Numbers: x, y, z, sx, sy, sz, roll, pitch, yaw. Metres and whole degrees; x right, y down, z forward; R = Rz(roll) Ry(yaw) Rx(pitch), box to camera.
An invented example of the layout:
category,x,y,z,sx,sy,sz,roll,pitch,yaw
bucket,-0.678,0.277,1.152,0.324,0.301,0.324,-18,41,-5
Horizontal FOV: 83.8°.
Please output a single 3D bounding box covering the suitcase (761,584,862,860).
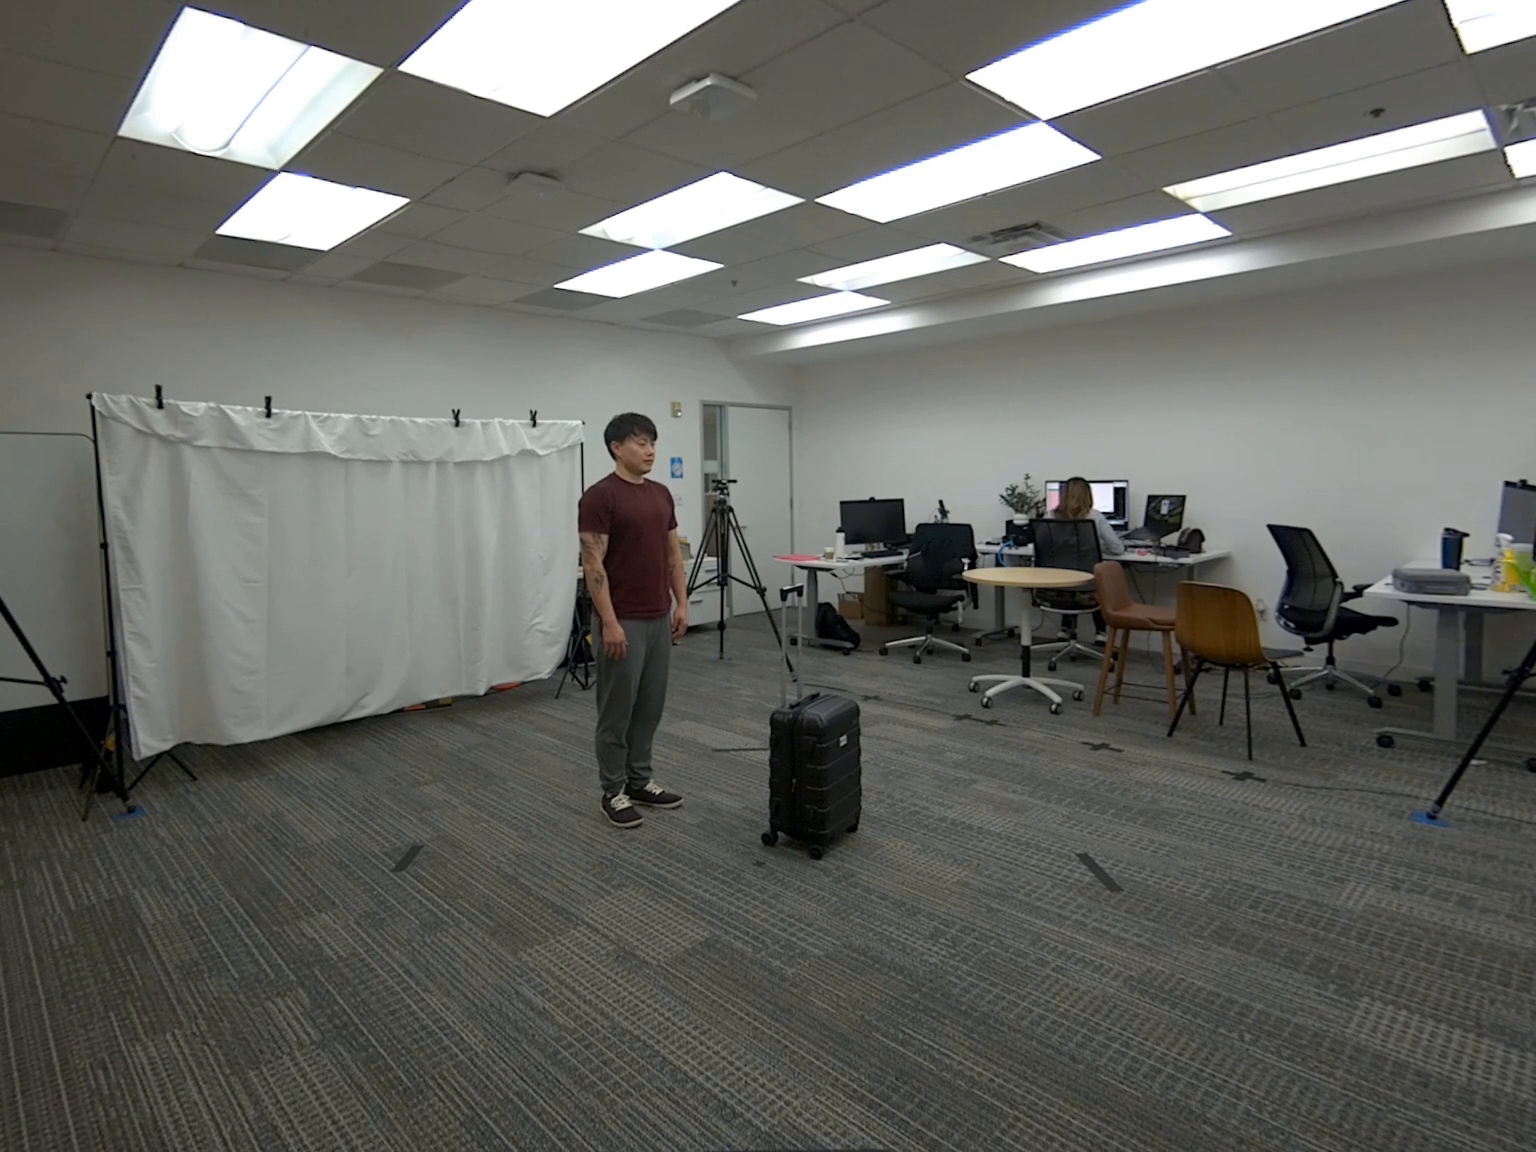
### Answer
category,x,y,z,sx,sy,sz,roll,pitch,yaw
suitcase,0.197,0.546,3.291,0.264,0.975,0.375,5,5,32
